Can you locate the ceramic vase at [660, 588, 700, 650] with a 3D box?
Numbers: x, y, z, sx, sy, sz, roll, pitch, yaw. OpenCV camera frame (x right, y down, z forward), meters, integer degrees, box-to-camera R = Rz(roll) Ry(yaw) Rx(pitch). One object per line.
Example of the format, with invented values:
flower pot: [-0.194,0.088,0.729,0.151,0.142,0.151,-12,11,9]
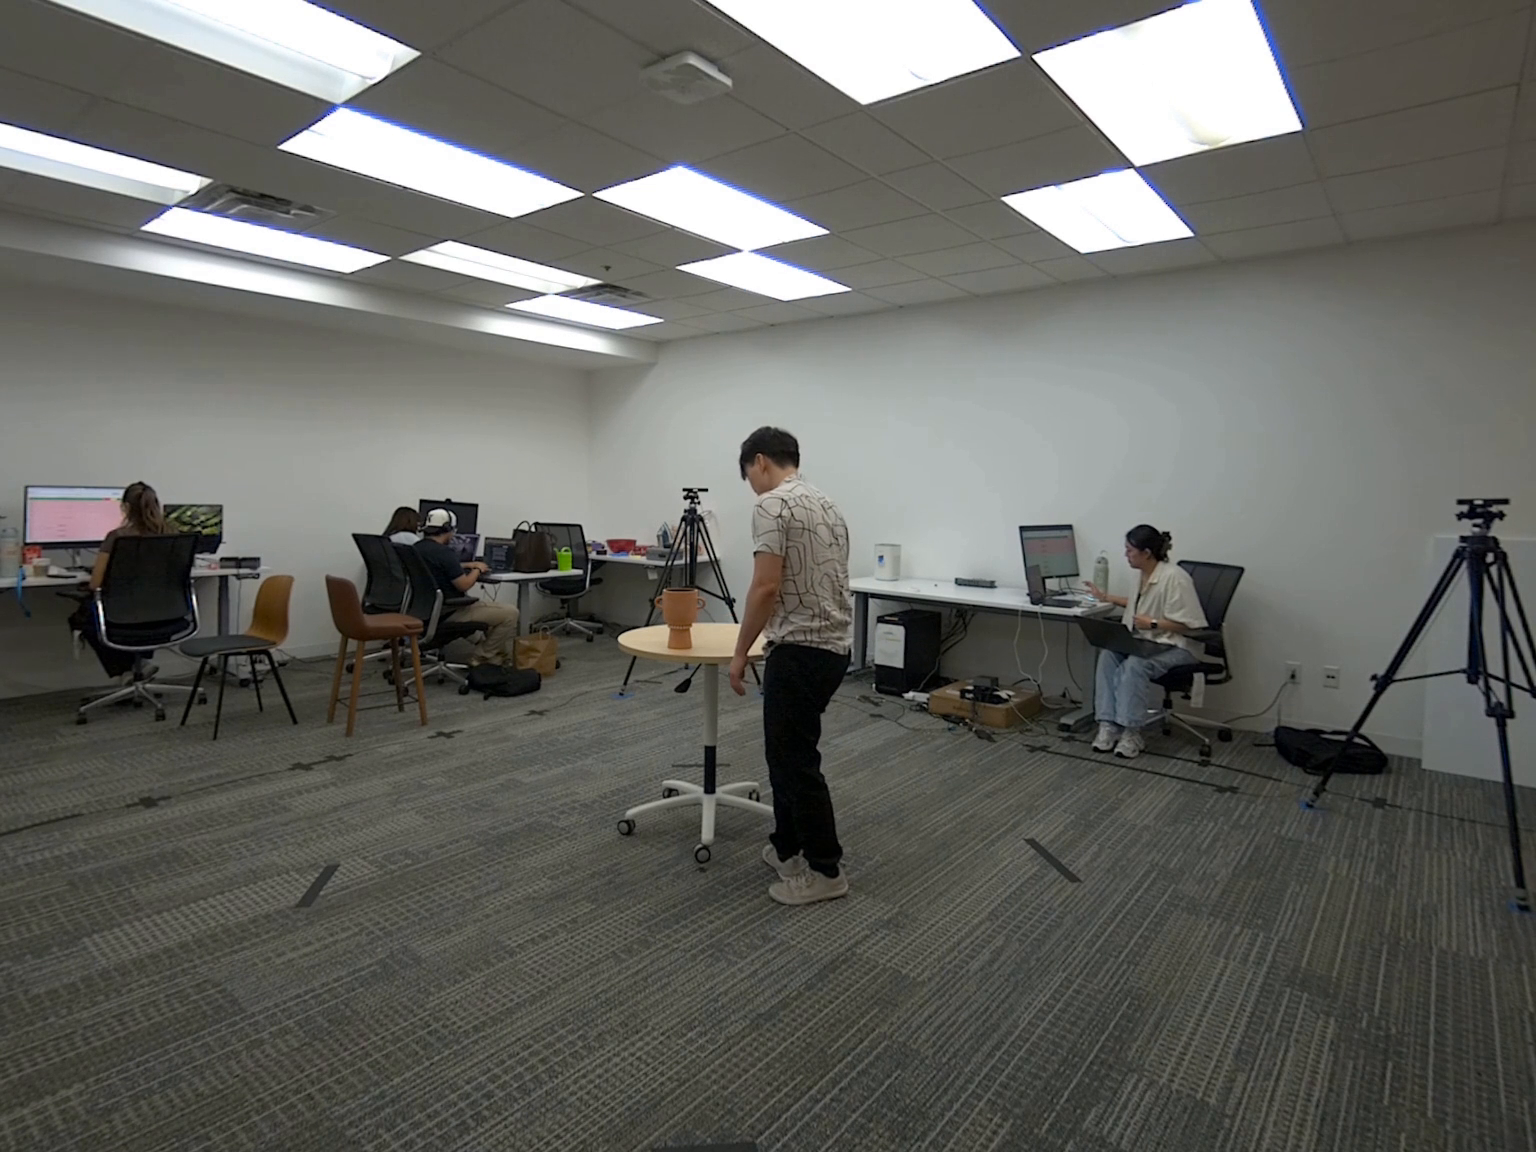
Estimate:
ceramic vase: [-0.351,0.161,3.272,0.164,0.219,0.131,5,7,45]
